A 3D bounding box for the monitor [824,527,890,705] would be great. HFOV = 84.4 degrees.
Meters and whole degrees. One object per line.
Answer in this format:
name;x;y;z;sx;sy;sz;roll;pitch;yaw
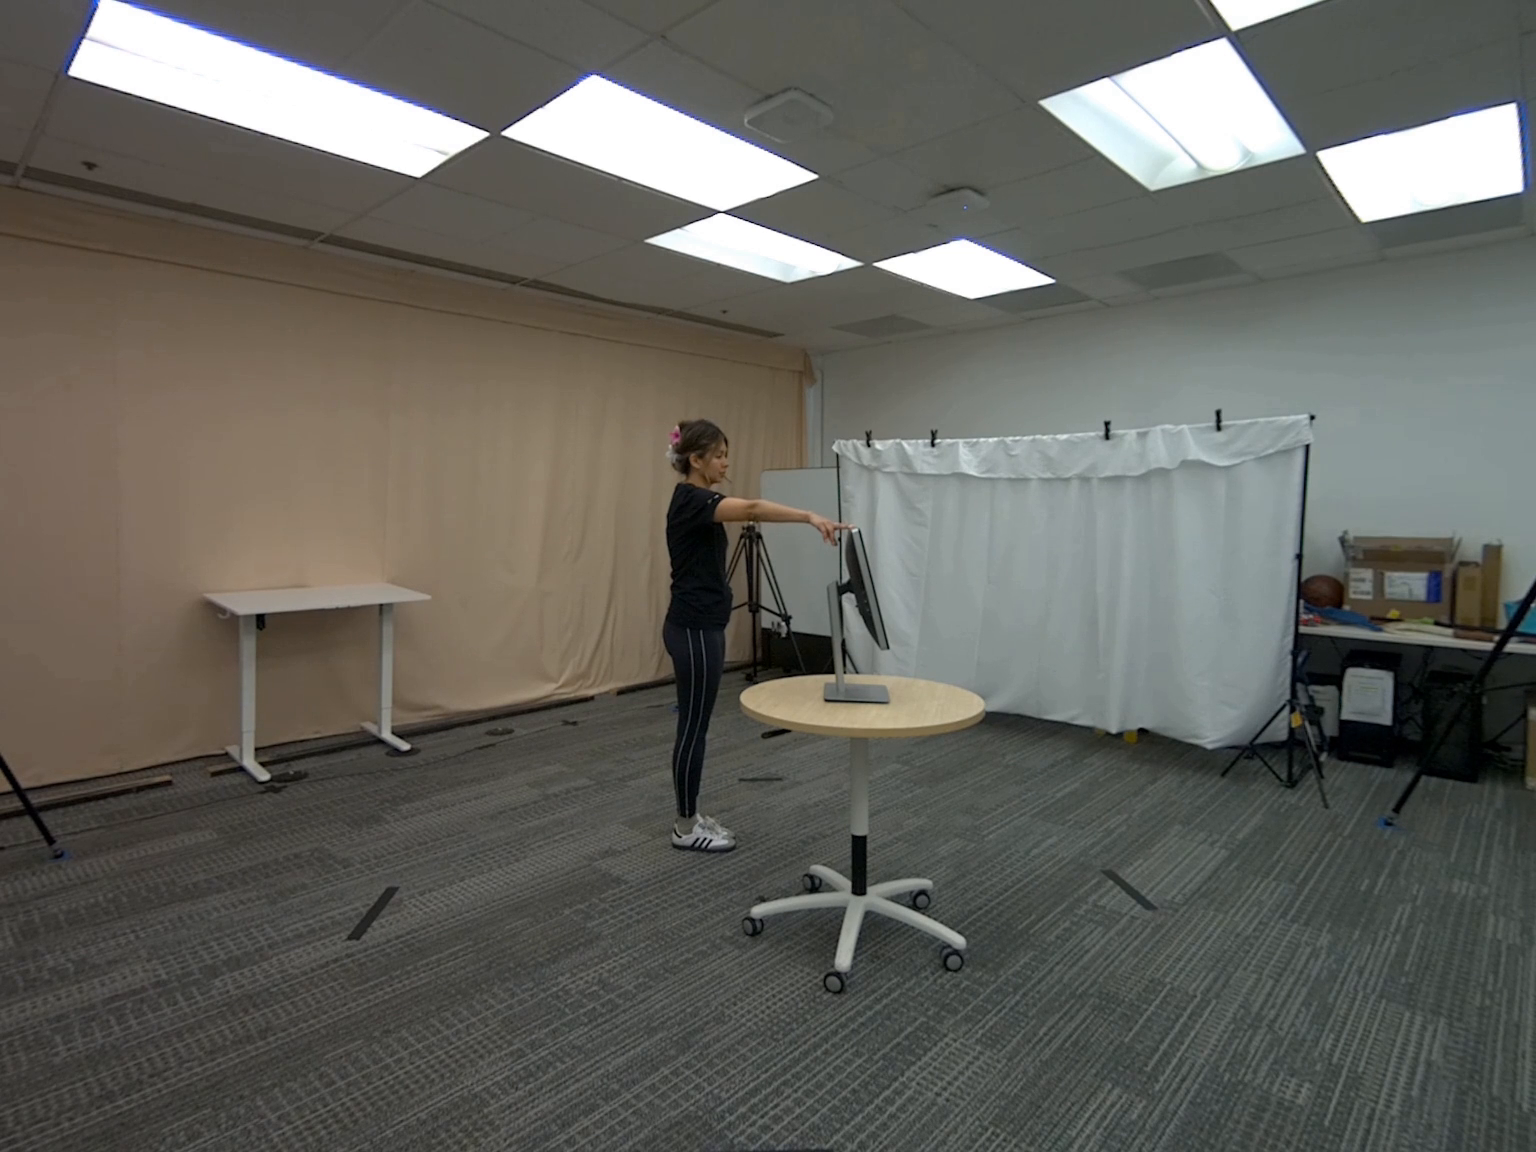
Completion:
monitor;0.283;0.123;2.723;0.188;0.522;0.537;0;3;4
